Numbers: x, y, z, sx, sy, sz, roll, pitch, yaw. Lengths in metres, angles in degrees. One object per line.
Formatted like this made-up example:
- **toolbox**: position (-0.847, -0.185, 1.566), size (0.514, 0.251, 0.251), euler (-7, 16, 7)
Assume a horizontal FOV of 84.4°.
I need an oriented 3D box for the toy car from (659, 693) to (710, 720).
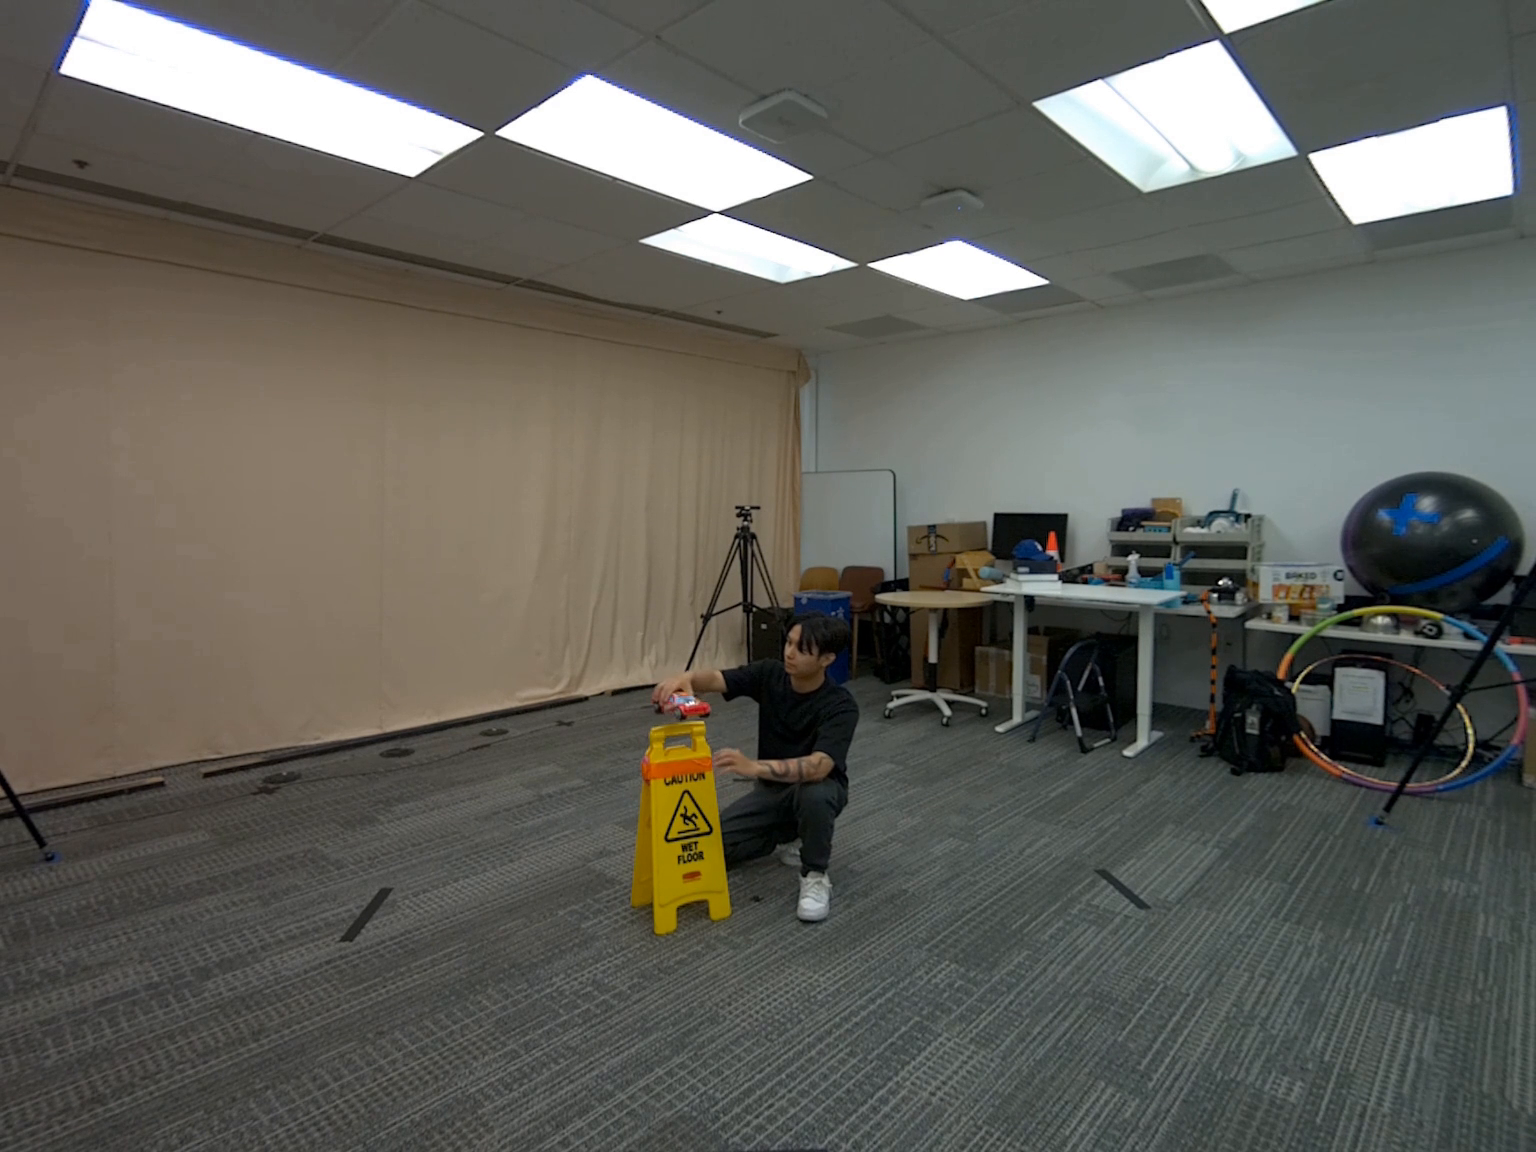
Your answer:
- **toy car**: position (-0.301, 0.440, 2.812), size (0.126, 0.083, 0.263), euler (-1, 10, -35)
